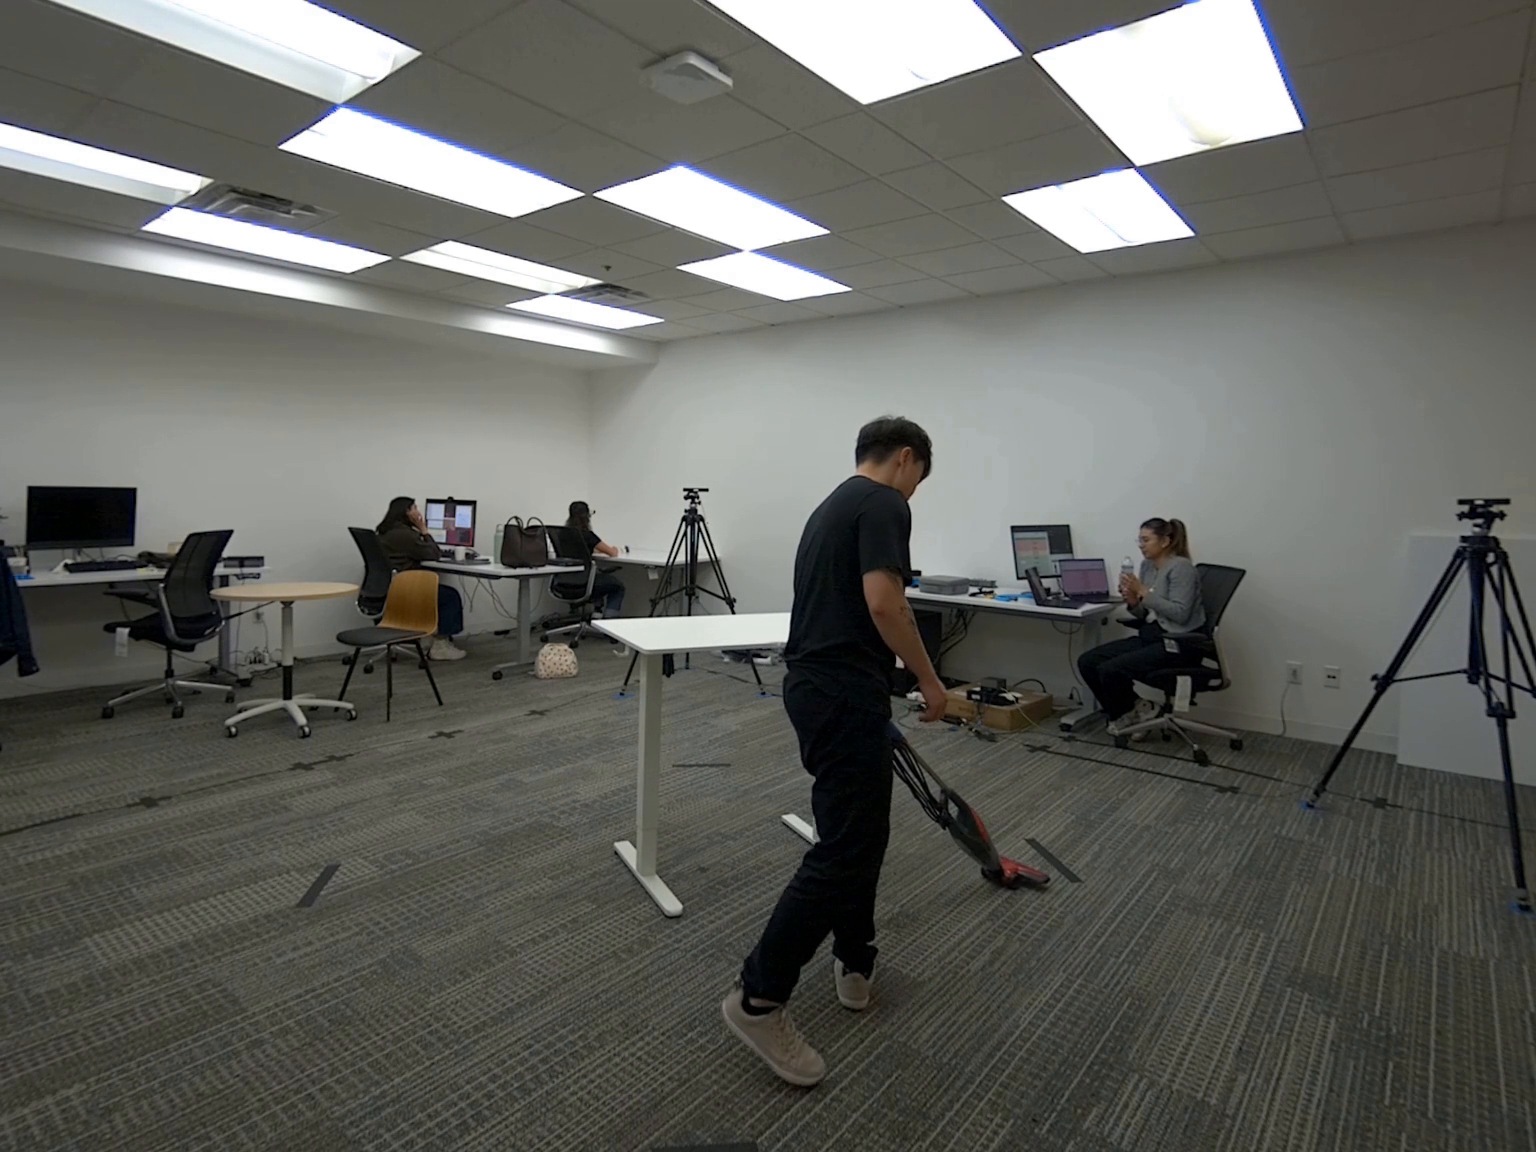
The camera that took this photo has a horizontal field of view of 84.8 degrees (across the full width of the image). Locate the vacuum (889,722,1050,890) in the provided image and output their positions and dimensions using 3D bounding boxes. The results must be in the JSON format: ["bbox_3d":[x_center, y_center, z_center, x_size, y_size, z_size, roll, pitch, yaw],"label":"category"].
[{"bbox_3d":[0.573,0.751,2.835,1.011,0.144,0.261,47,-20,-31],"label":"vacuum"}]
